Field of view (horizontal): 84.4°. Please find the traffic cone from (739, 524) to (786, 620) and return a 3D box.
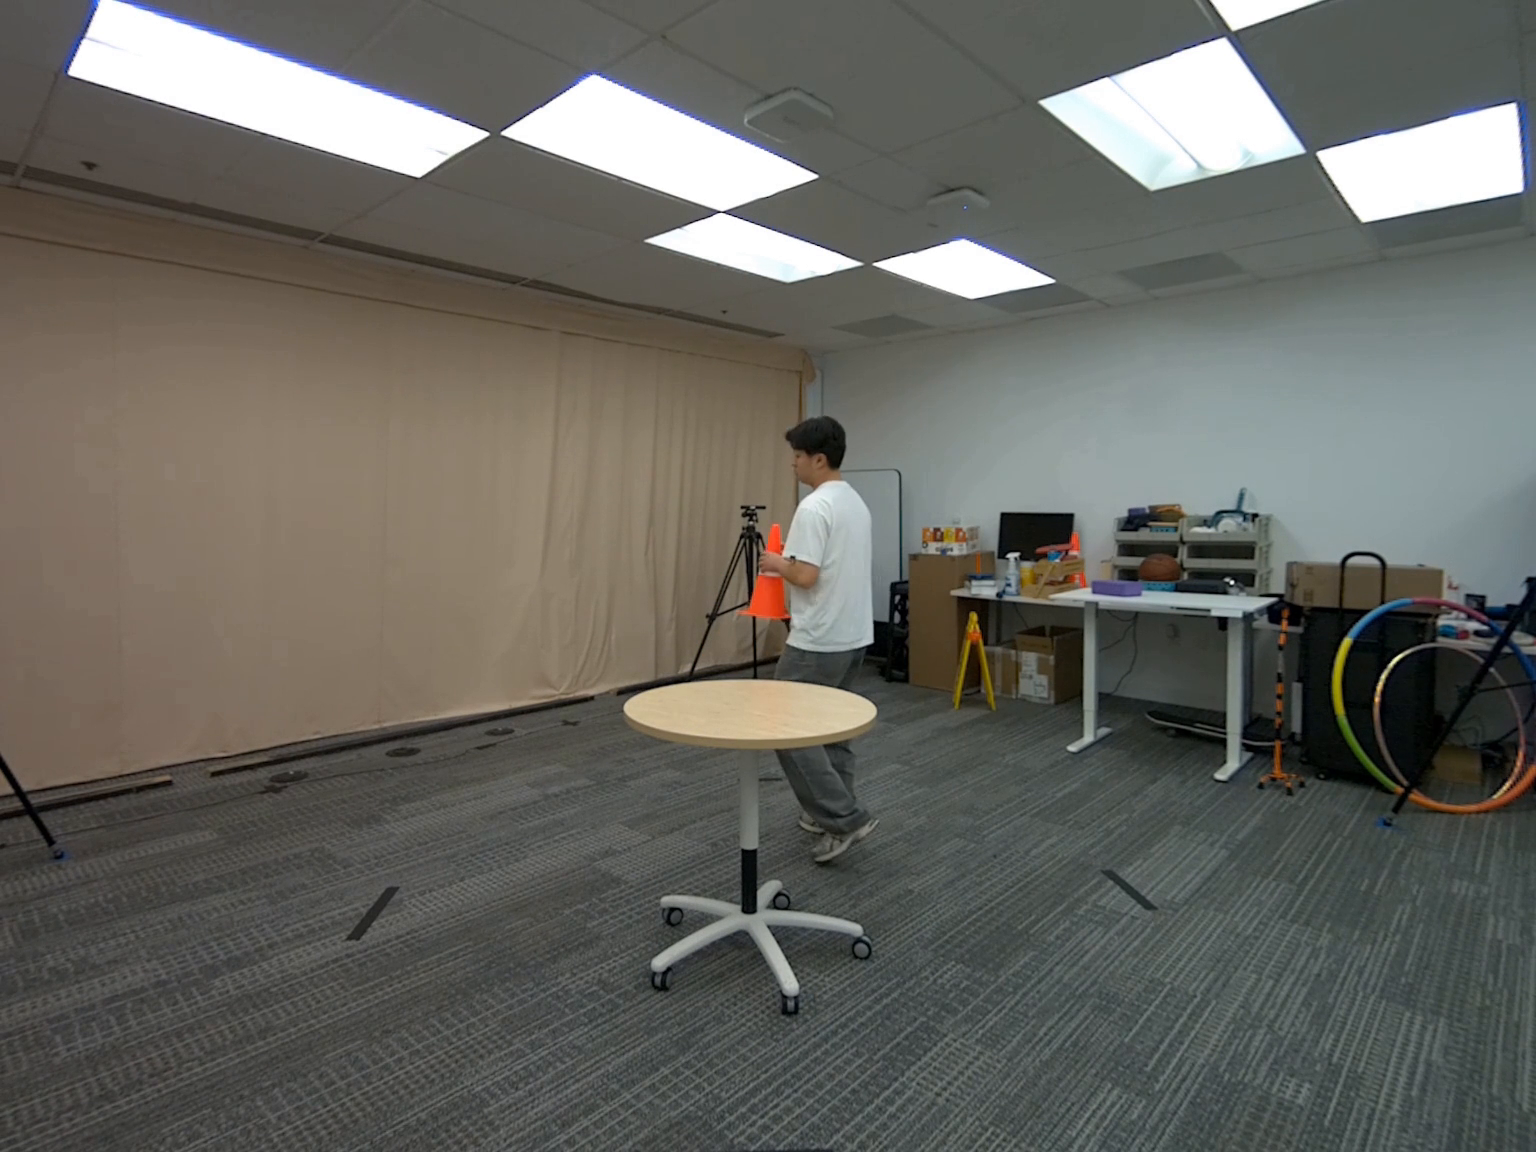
[{"bbox_3d":[0.028,-0.018,3.554,0.210,0.383,0.198,6,4,25],"label":"traffic cone"}]
